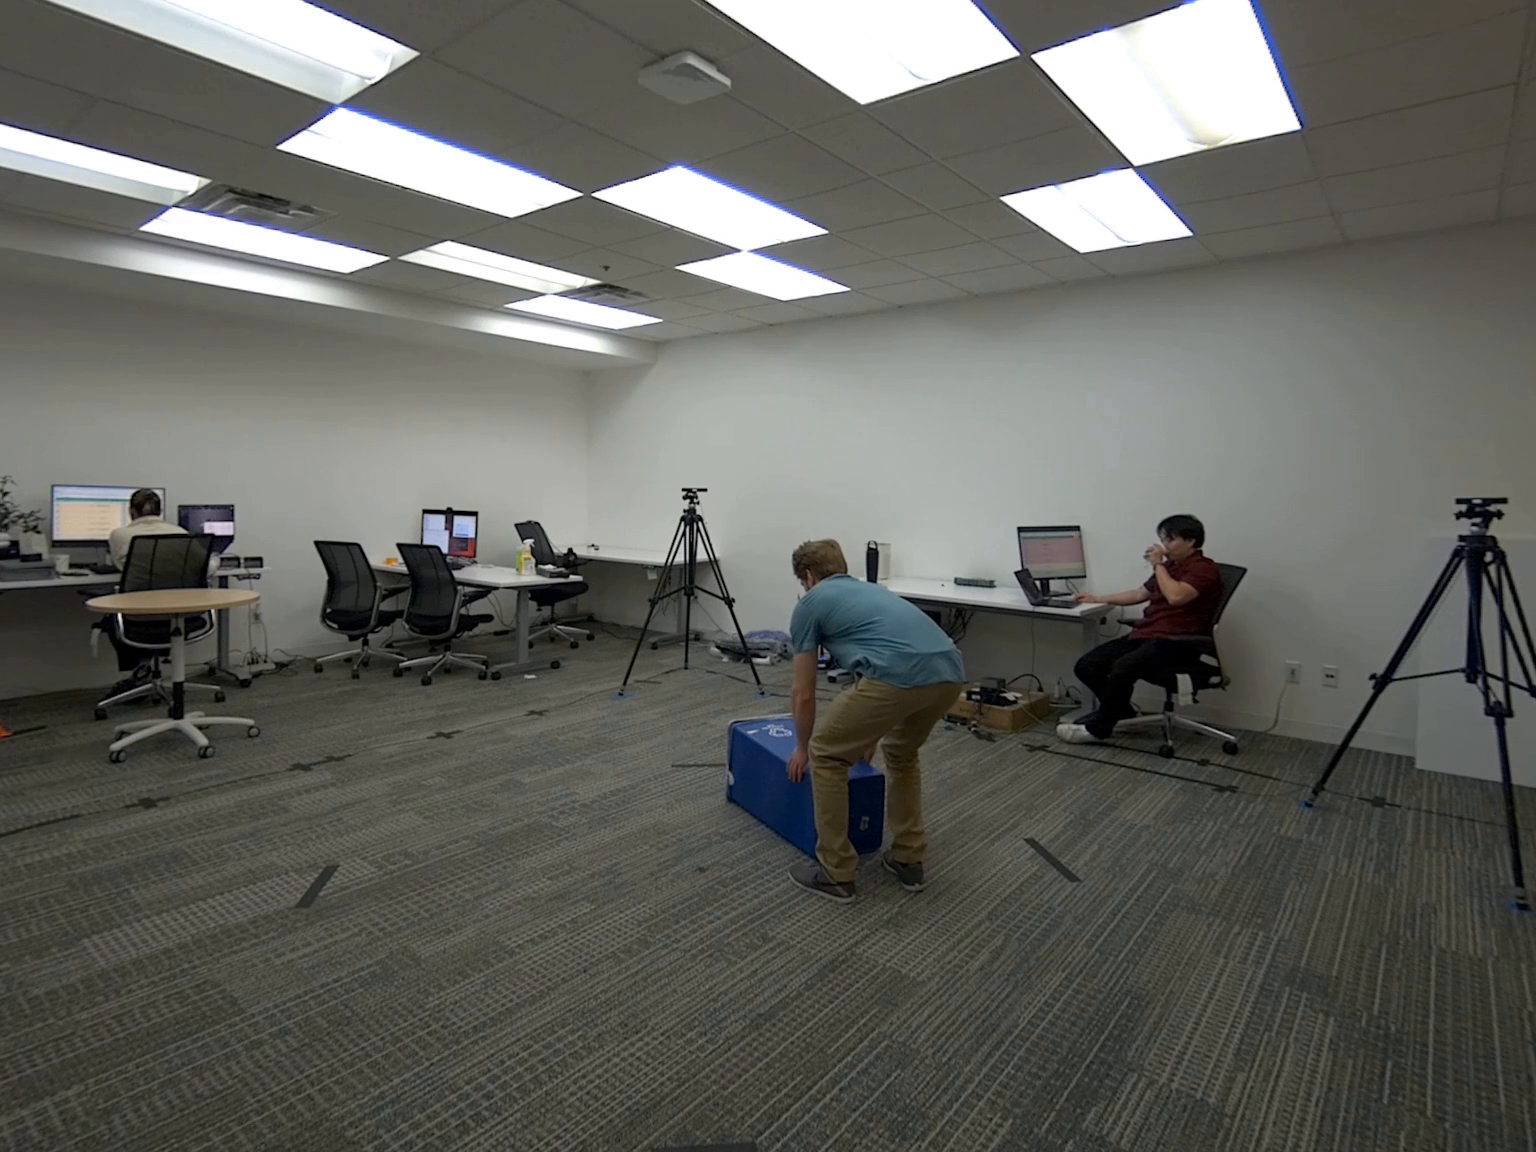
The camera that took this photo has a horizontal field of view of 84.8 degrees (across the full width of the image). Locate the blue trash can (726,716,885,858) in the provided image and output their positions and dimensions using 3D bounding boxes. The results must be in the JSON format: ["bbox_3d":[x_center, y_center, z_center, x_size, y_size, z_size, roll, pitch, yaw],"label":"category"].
[{"bbox_3d":[0.137,0.868,3.552,0.364,0.376,0.737,-1,8,-29],"label":"blue trash can"}]
